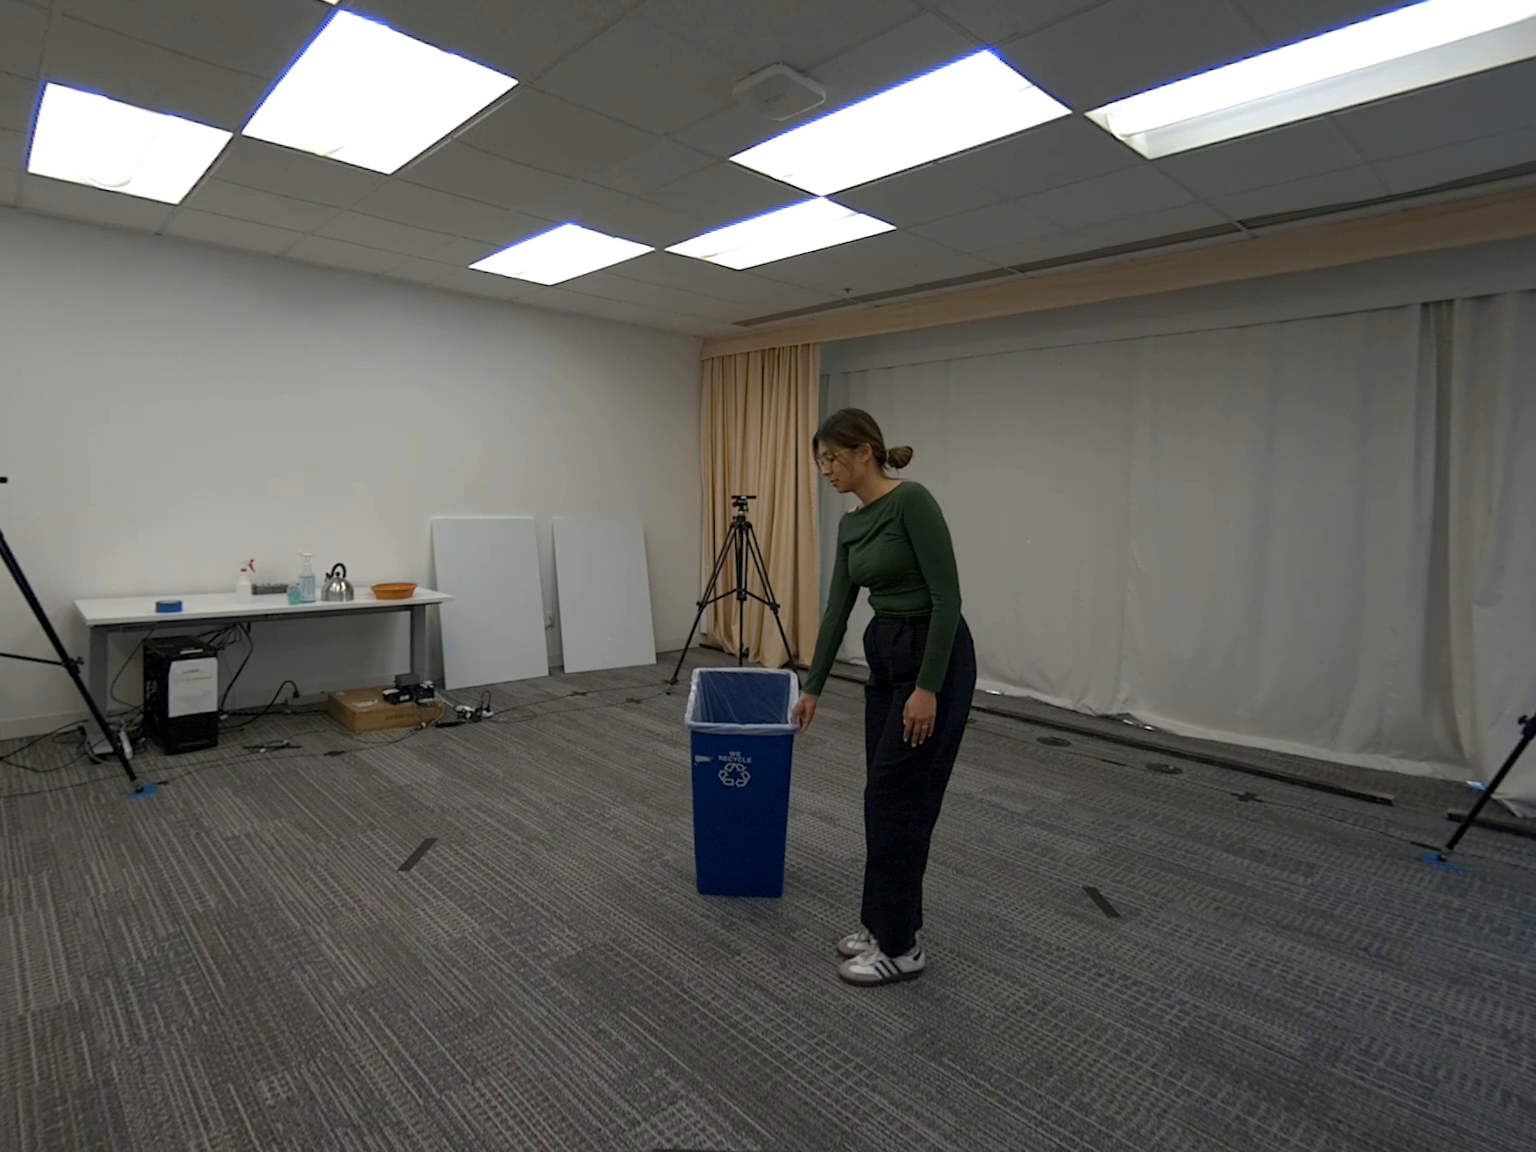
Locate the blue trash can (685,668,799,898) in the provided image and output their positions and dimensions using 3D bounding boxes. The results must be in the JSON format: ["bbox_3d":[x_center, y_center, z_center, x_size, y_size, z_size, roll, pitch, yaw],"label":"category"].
[{"bbox_3d":[-0.100,0.736,2.950,0.378,0.703,0.379,2,22,1],"label":"blue trash can"}]
